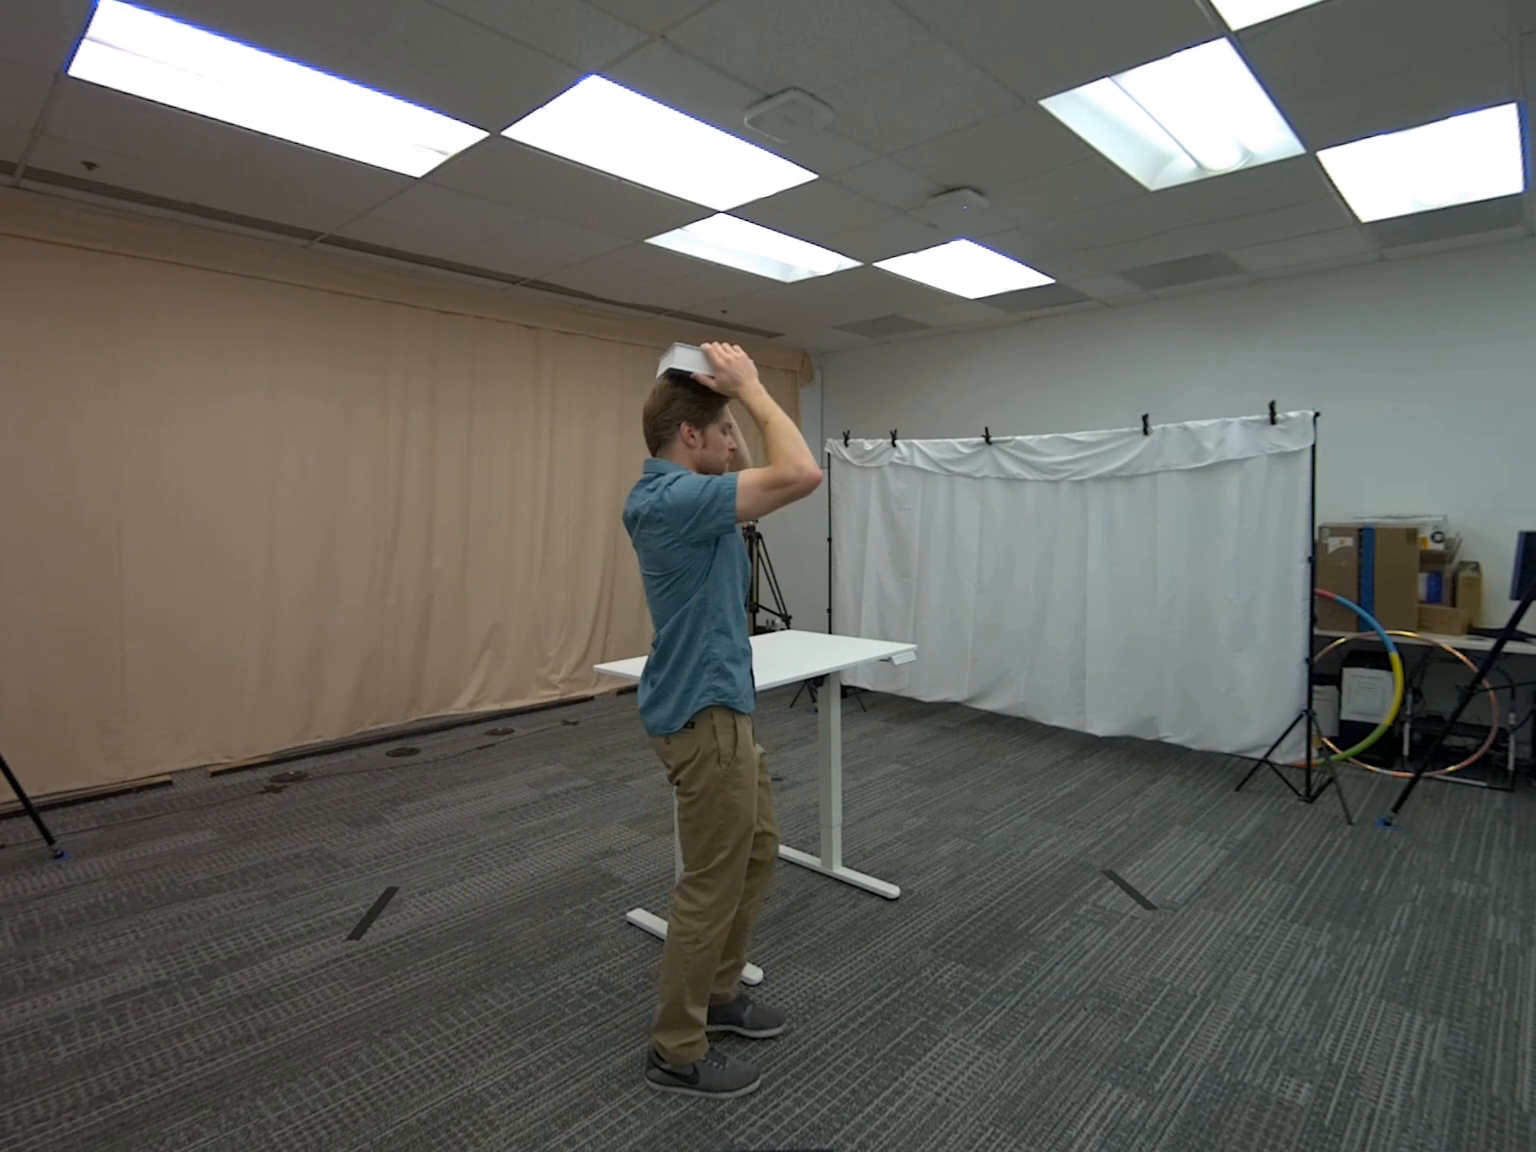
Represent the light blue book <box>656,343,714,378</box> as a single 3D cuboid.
[{"bbox_3d":[-0.164,-0.489,2.024,0.189,0.059,0.265,8,5,-13],"label":"light blue book"}]
